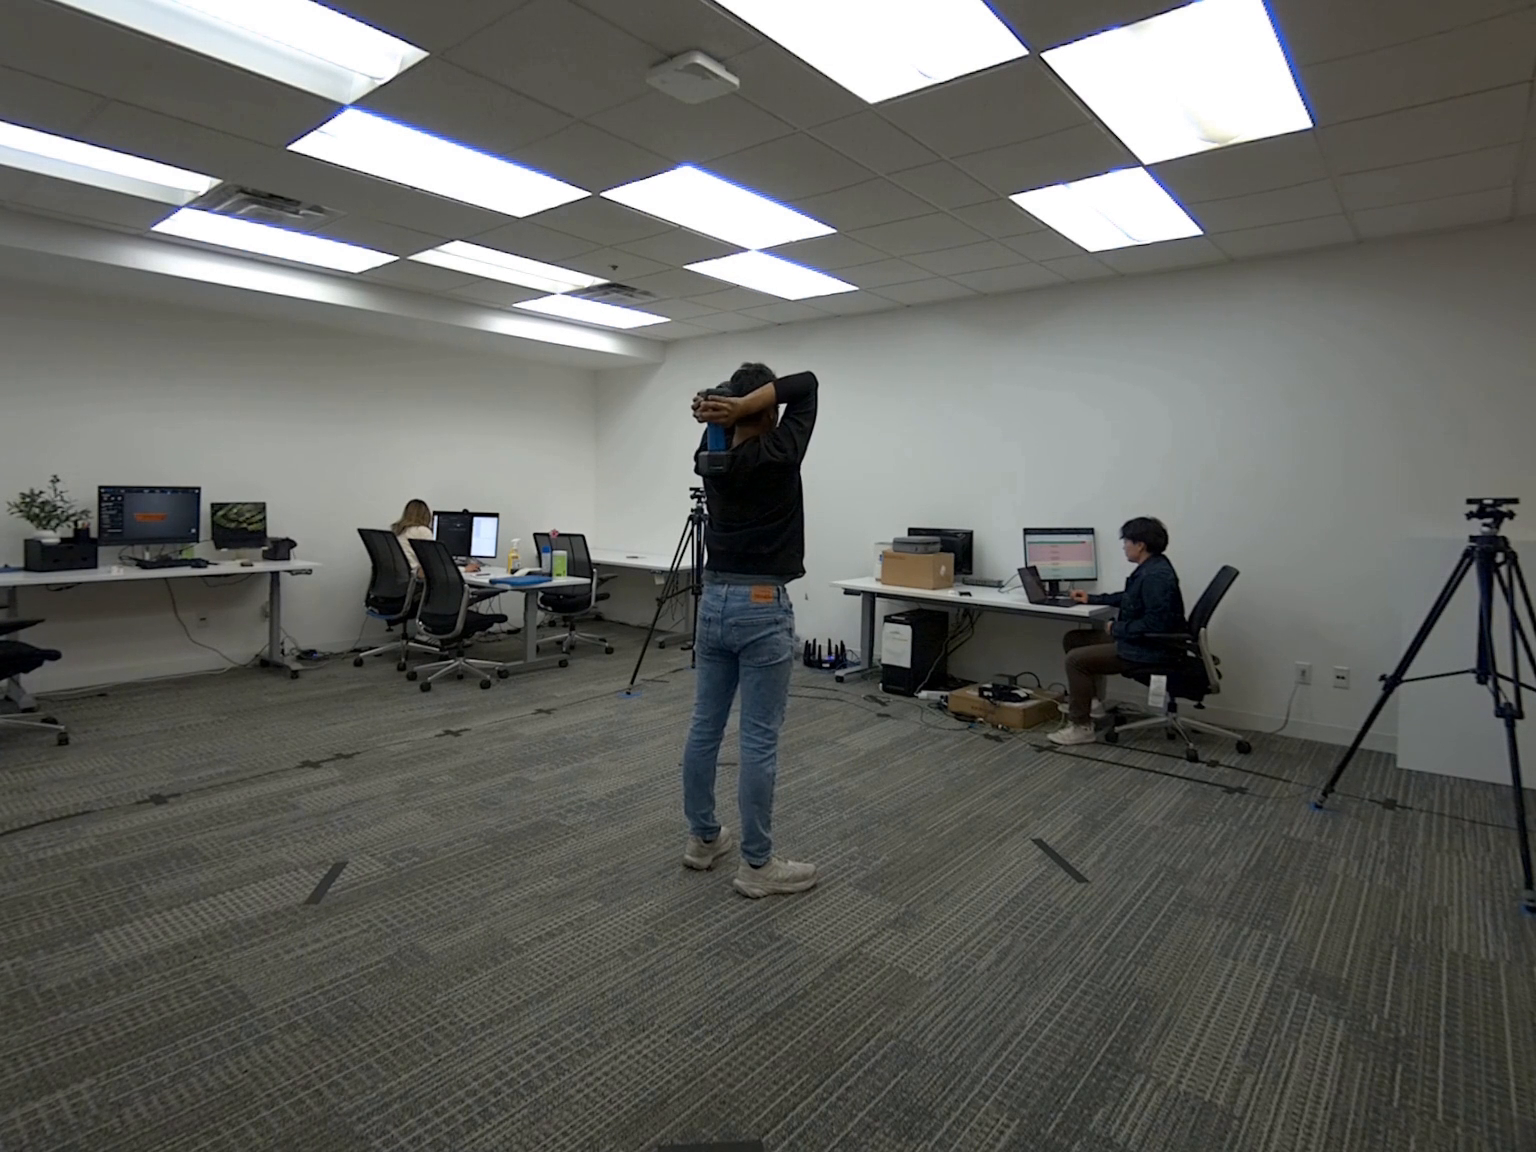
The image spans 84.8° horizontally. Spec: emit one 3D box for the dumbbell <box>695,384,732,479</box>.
[{"bbox_3d":[-0.184,-0.517,2.923,0.105,0.293,0.127,1,3,-45],"label":"dumbbell"}]
